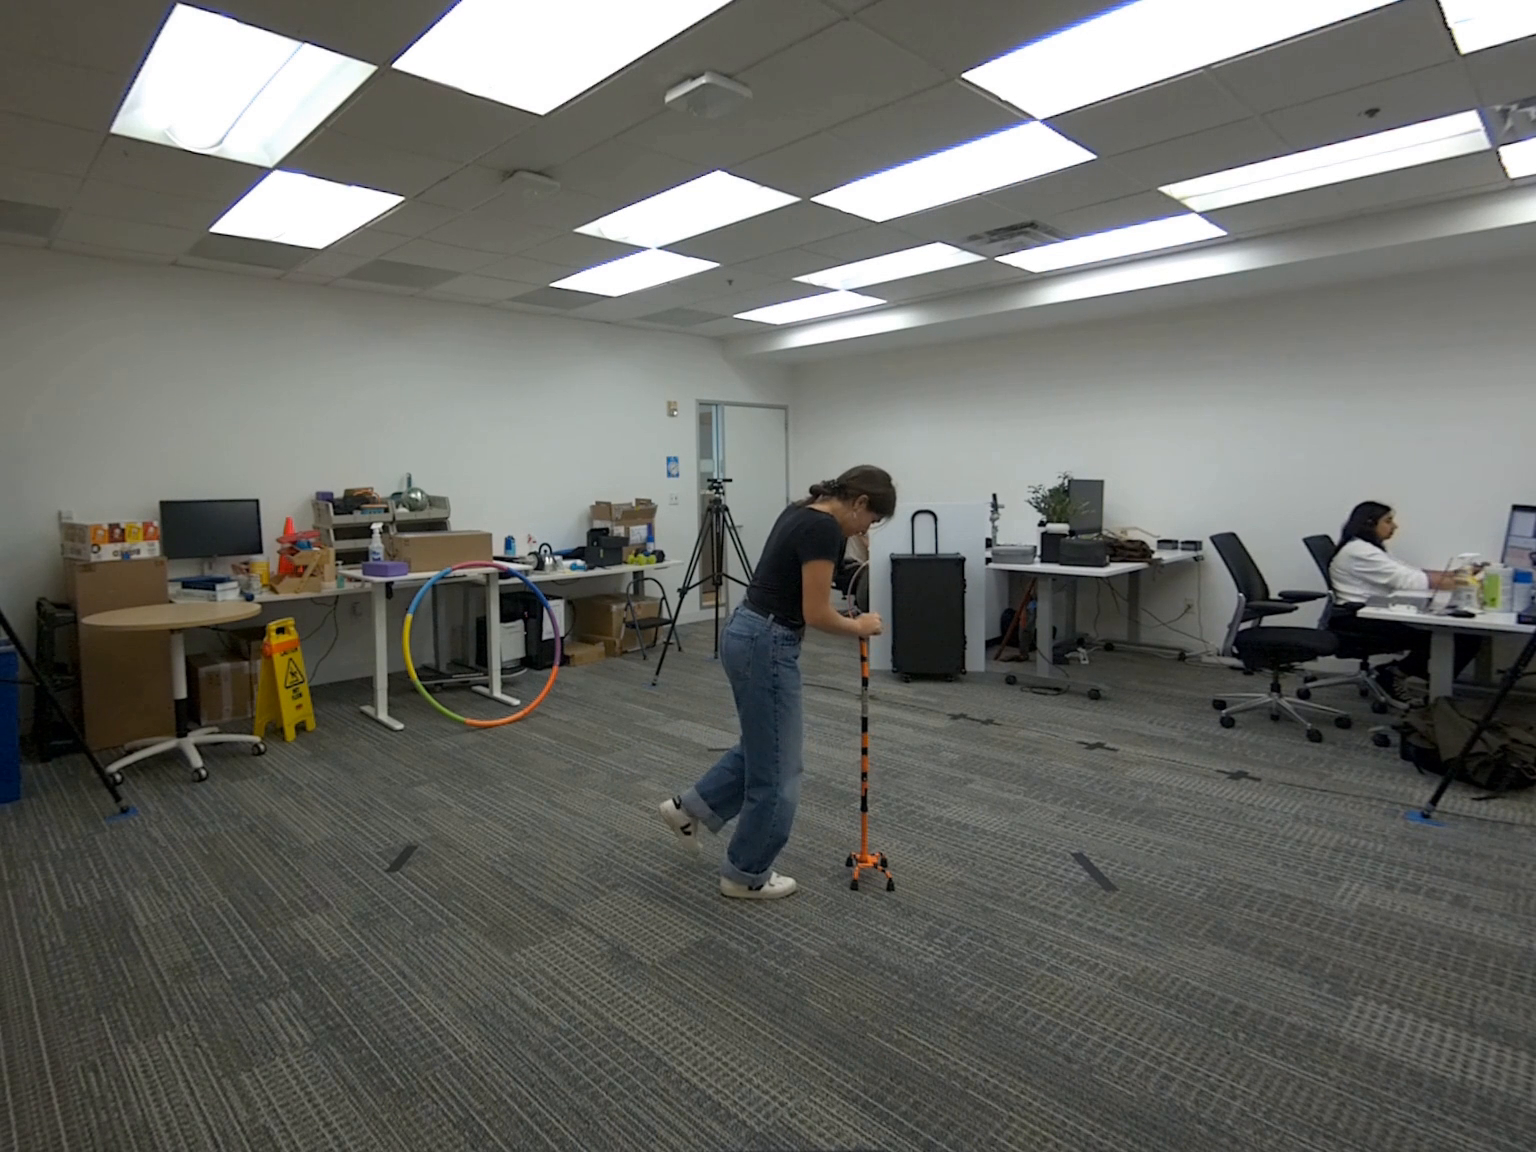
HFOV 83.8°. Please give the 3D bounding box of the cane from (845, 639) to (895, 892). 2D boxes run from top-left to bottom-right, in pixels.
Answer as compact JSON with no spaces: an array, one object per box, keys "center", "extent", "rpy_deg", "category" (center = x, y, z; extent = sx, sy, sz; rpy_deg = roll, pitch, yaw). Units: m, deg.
[{"center":[0.351,0.595,2.955],"extent":[0.152,0.905,0.207],"rpy_deg":[0,4,1],"category":"cane"}]
